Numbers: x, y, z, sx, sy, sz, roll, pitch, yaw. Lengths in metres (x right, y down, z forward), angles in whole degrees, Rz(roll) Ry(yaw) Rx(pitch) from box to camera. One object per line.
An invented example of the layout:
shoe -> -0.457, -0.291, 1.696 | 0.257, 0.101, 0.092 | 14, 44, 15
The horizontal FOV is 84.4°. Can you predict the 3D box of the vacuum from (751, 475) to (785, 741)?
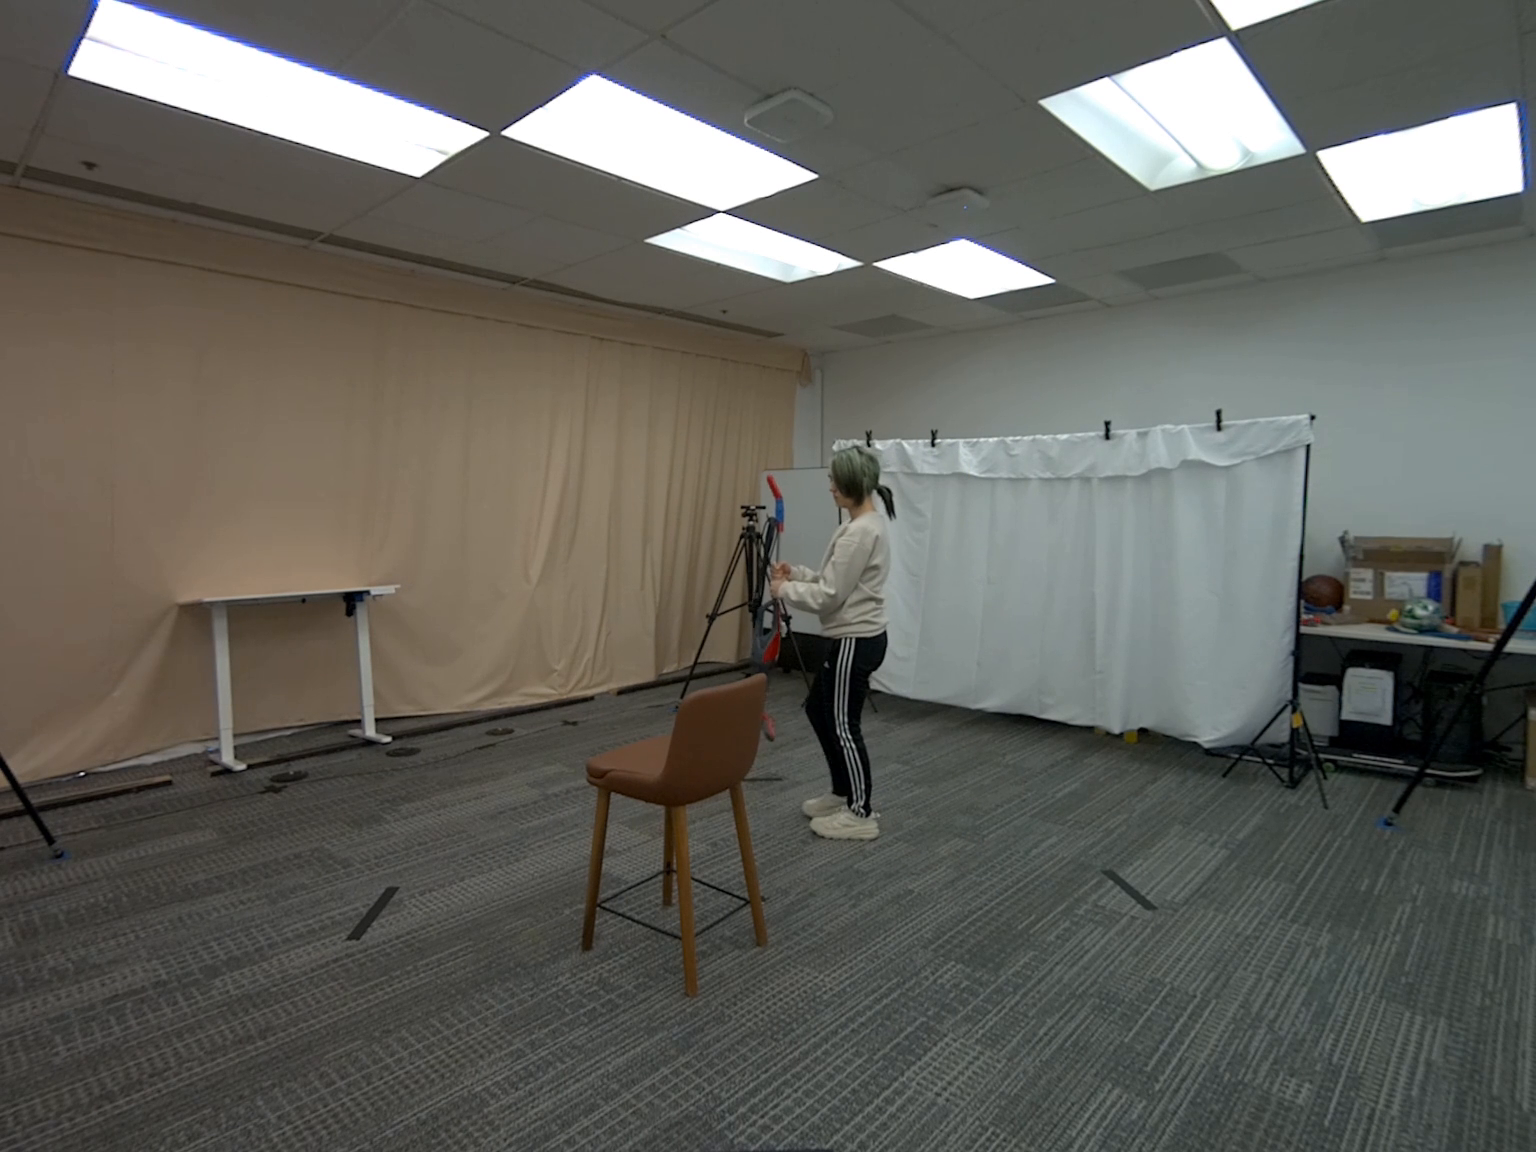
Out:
vacuum -> -0.006, 0.106, 3.581 | 0.148, 1.047, 0.246 | 3, 4, 28
